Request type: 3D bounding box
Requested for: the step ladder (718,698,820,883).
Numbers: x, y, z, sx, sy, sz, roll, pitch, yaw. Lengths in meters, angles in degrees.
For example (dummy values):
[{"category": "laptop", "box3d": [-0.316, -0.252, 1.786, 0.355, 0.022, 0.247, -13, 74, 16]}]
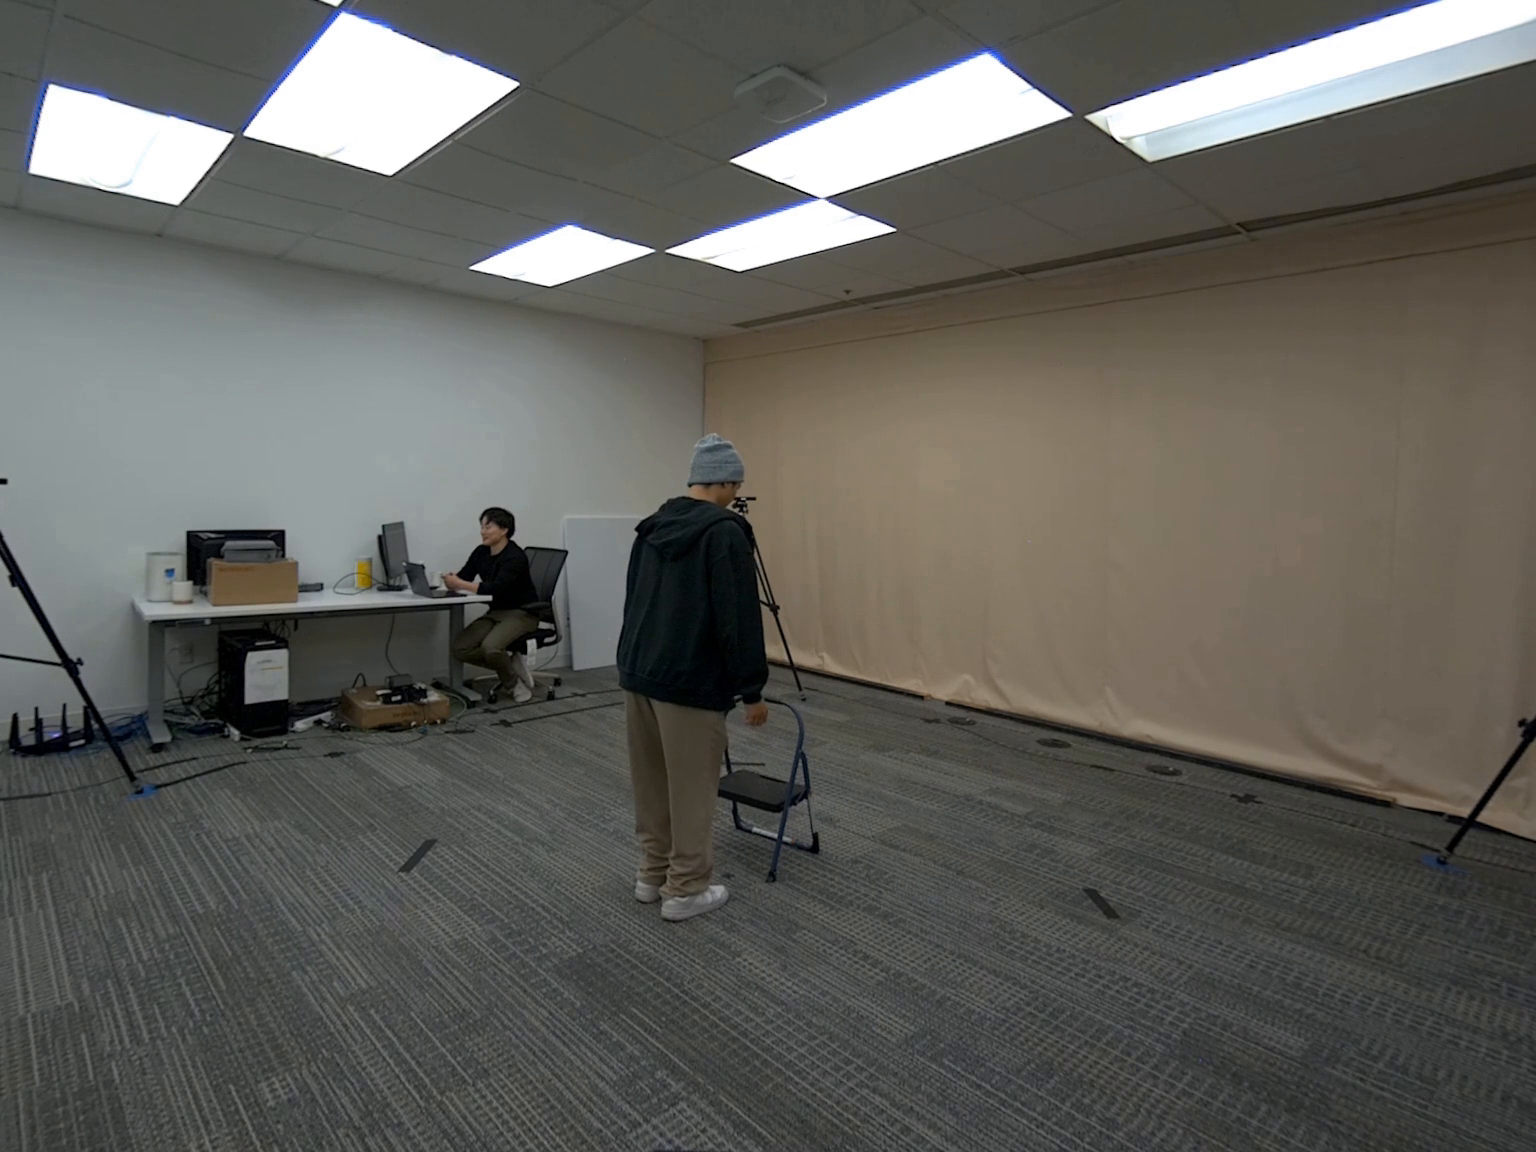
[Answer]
[{"category": "step ladder", "box3d": [-0.055, 0.788, 3.306, 0.441, 0.604, 0.342, 4, 4, 36]}]
